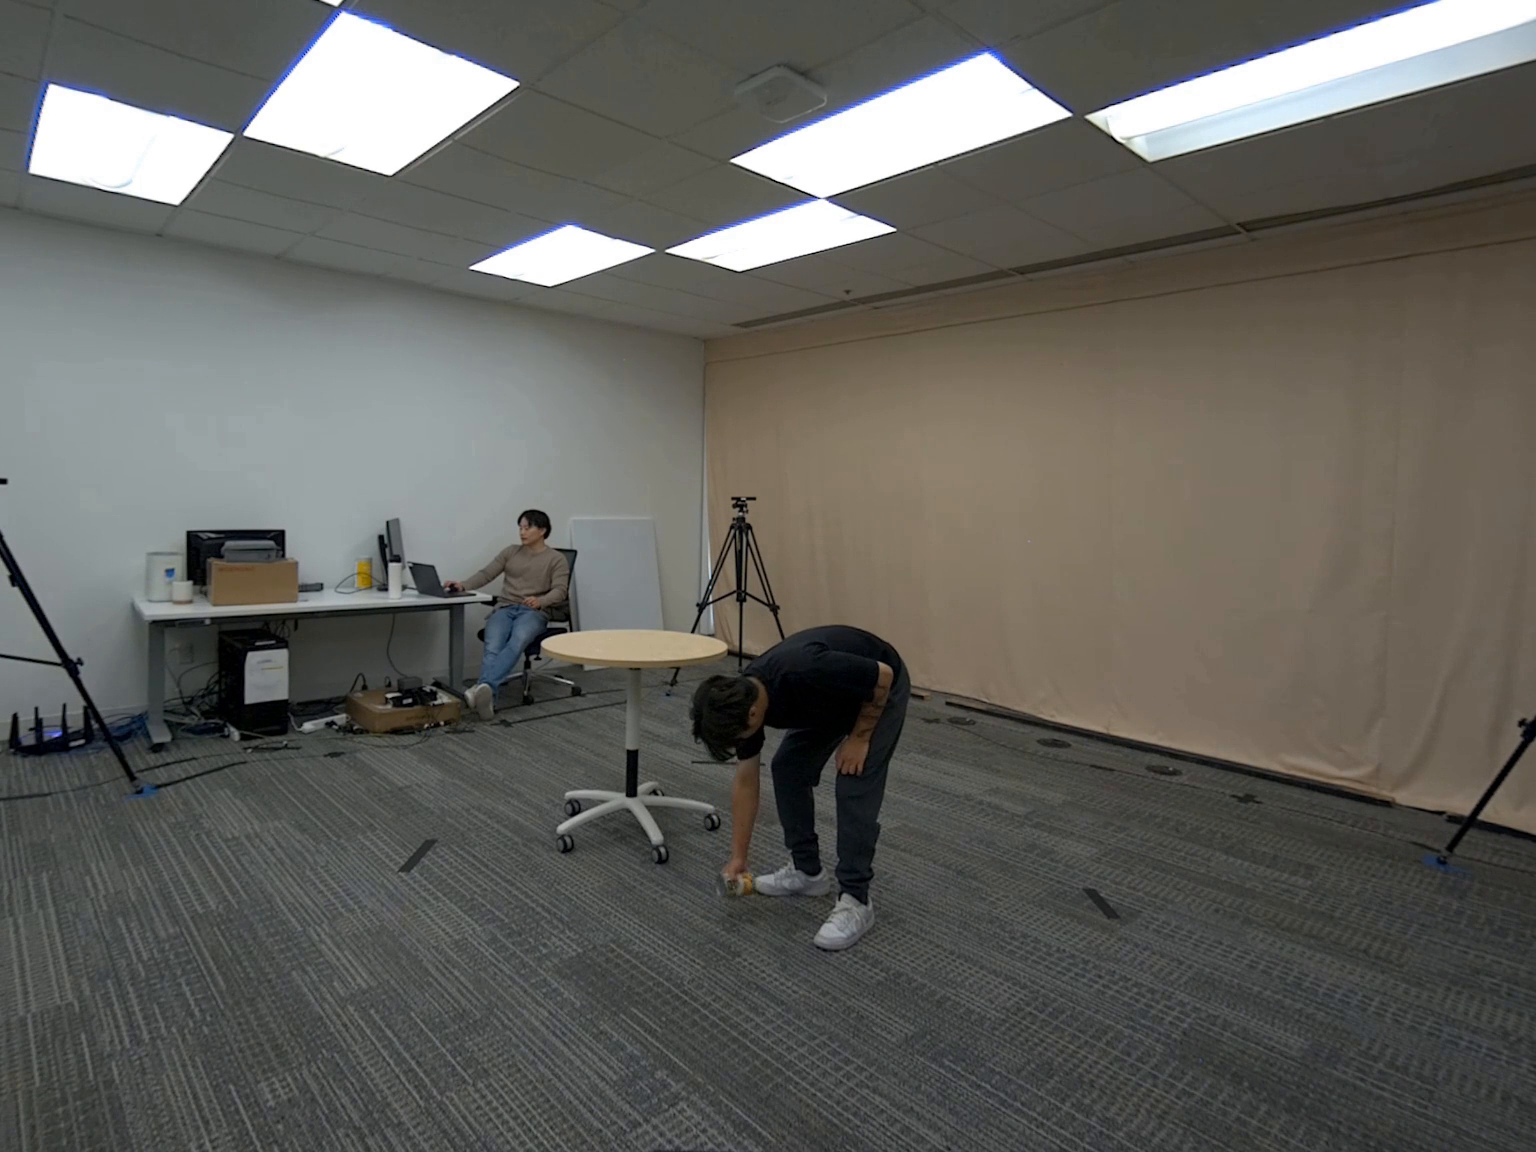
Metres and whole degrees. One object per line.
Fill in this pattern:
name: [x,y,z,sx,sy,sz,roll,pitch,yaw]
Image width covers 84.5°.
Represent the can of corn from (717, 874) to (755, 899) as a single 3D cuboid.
can of corn: [-0.112,1.022,2.823,0.110,0.074,0.075,-1,4,-7]
